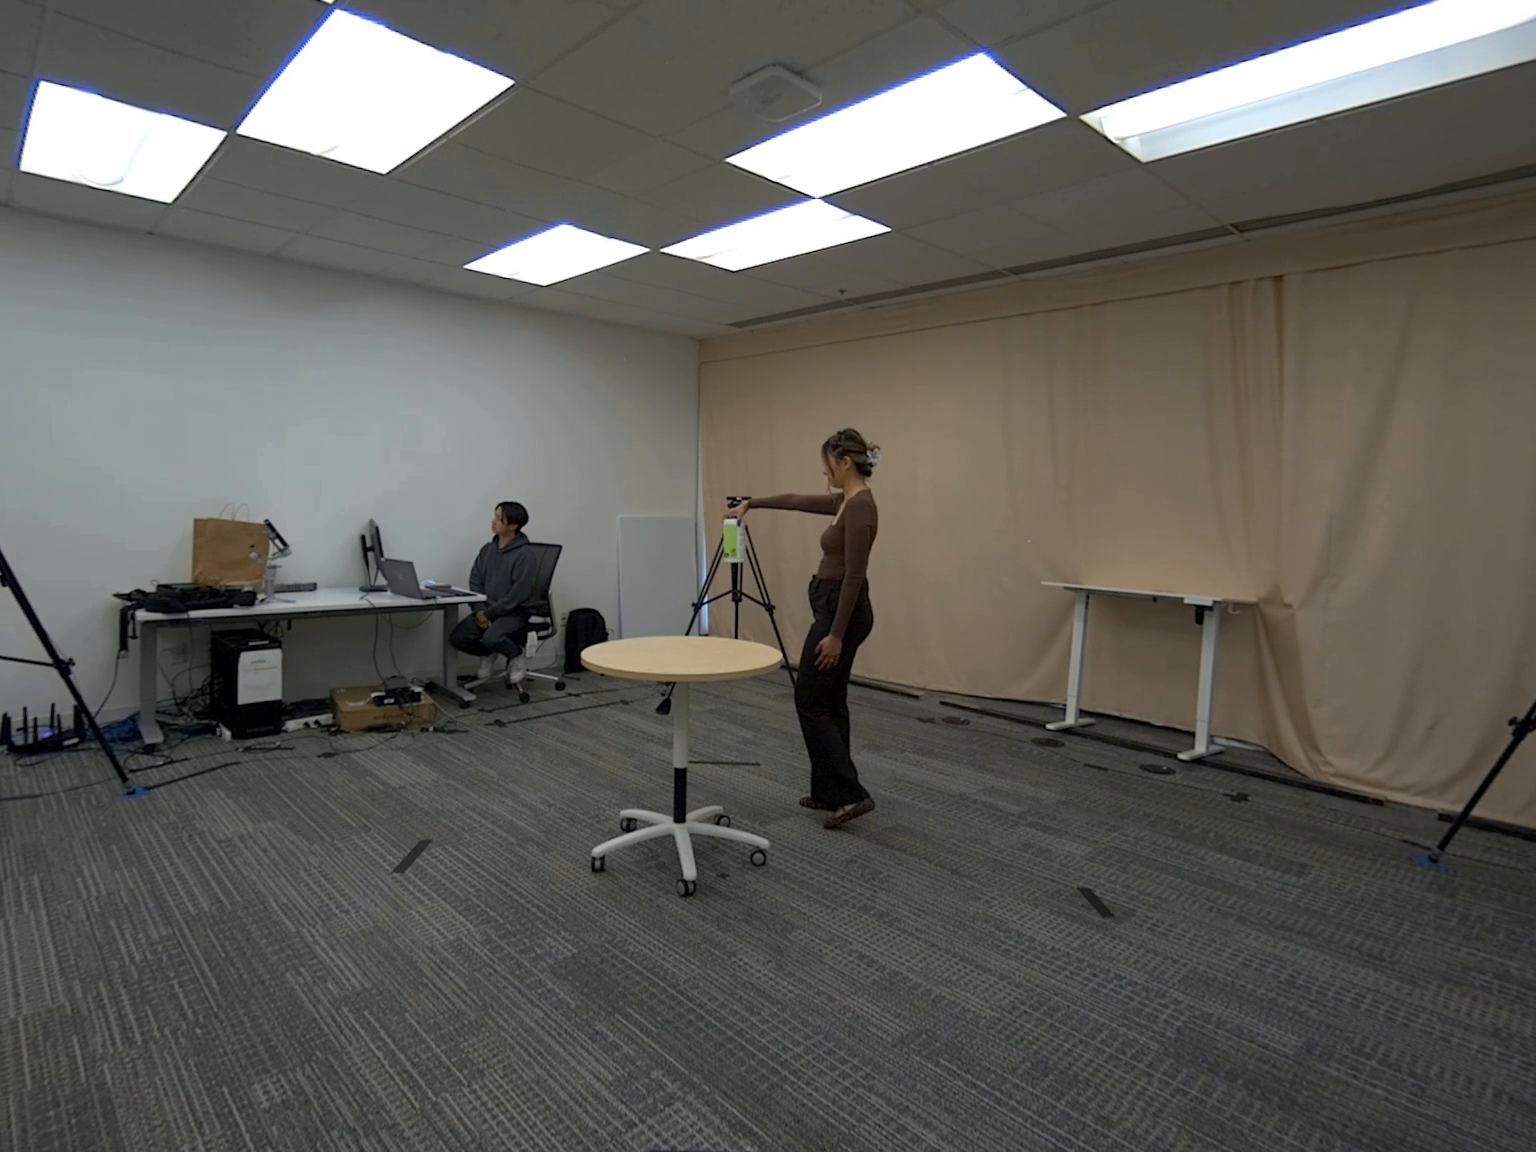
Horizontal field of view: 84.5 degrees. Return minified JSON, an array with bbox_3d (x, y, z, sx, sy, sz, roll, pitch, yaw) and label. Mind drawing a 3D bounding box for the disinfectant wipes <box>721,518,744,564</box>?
[{"bbox_3d":[-0.174,-0.171,4.147,0.118,0.217,0.118,-2,2,-1],"label":"disinfectant wipes"}]
